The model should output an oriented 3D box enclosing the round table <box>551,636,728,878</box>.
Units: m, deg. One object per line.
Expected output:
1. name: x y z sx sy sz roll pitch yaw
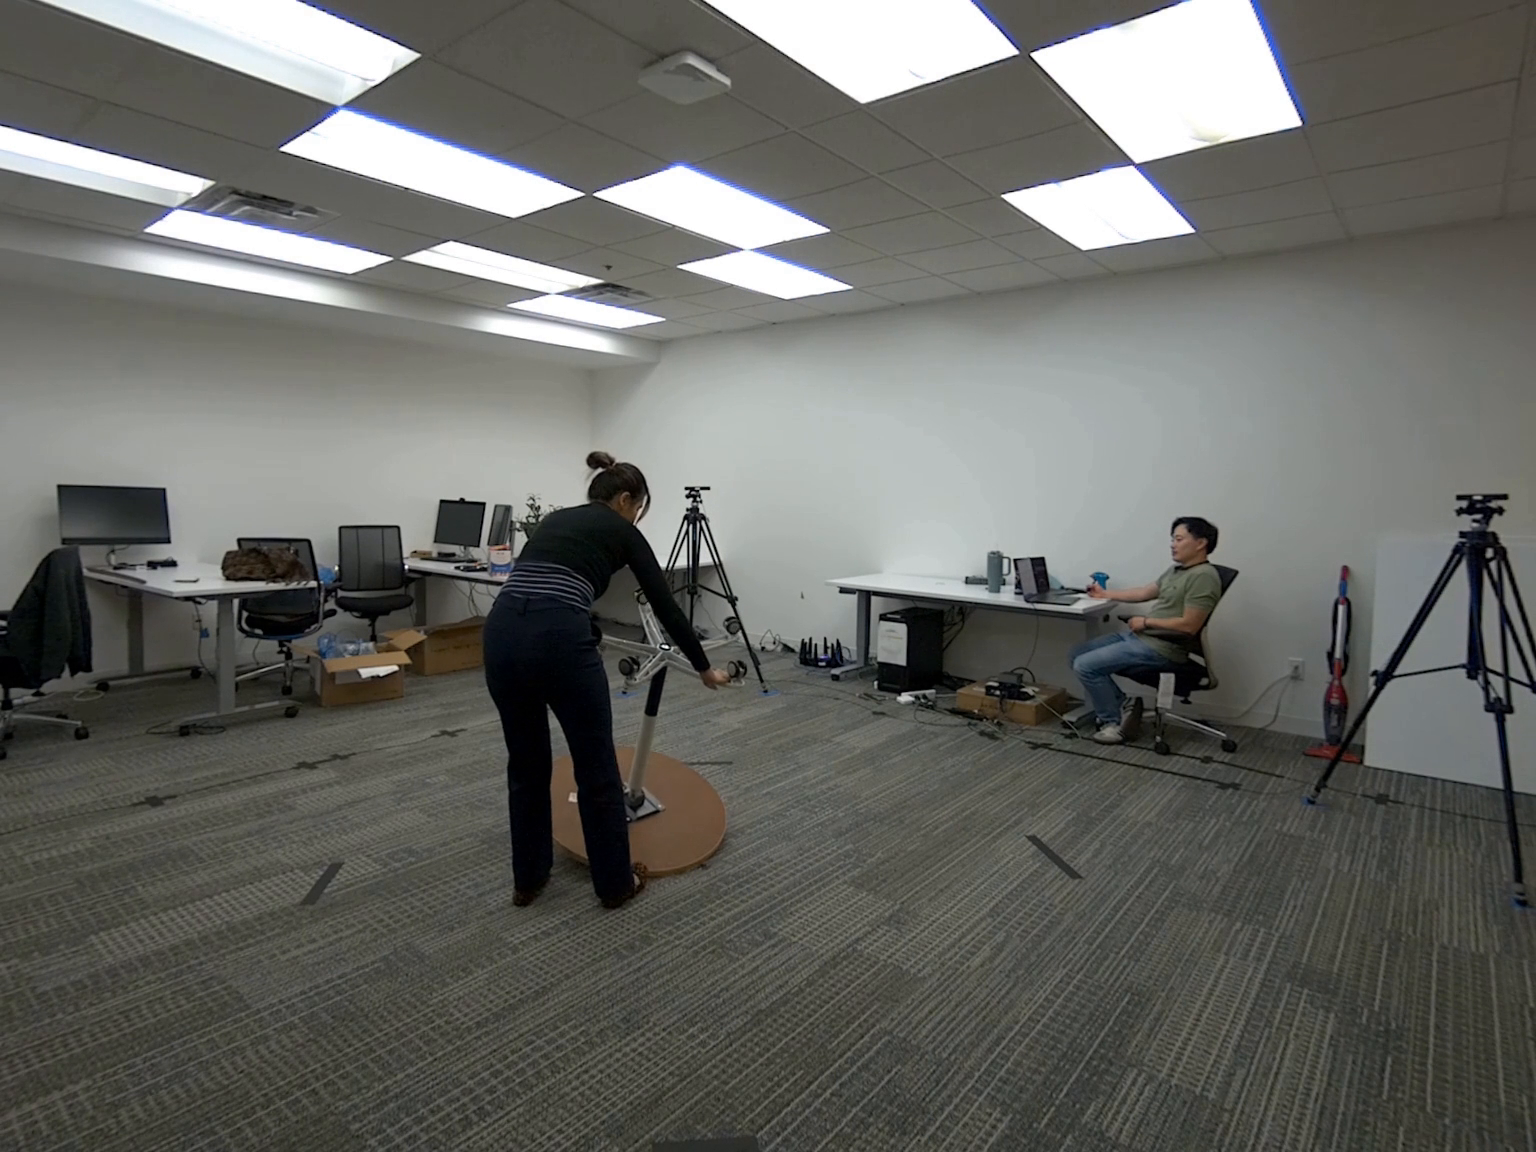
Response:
1. round table: -0.466 0.553 3.245 0.760 0.784 0.778 11 19 -6
